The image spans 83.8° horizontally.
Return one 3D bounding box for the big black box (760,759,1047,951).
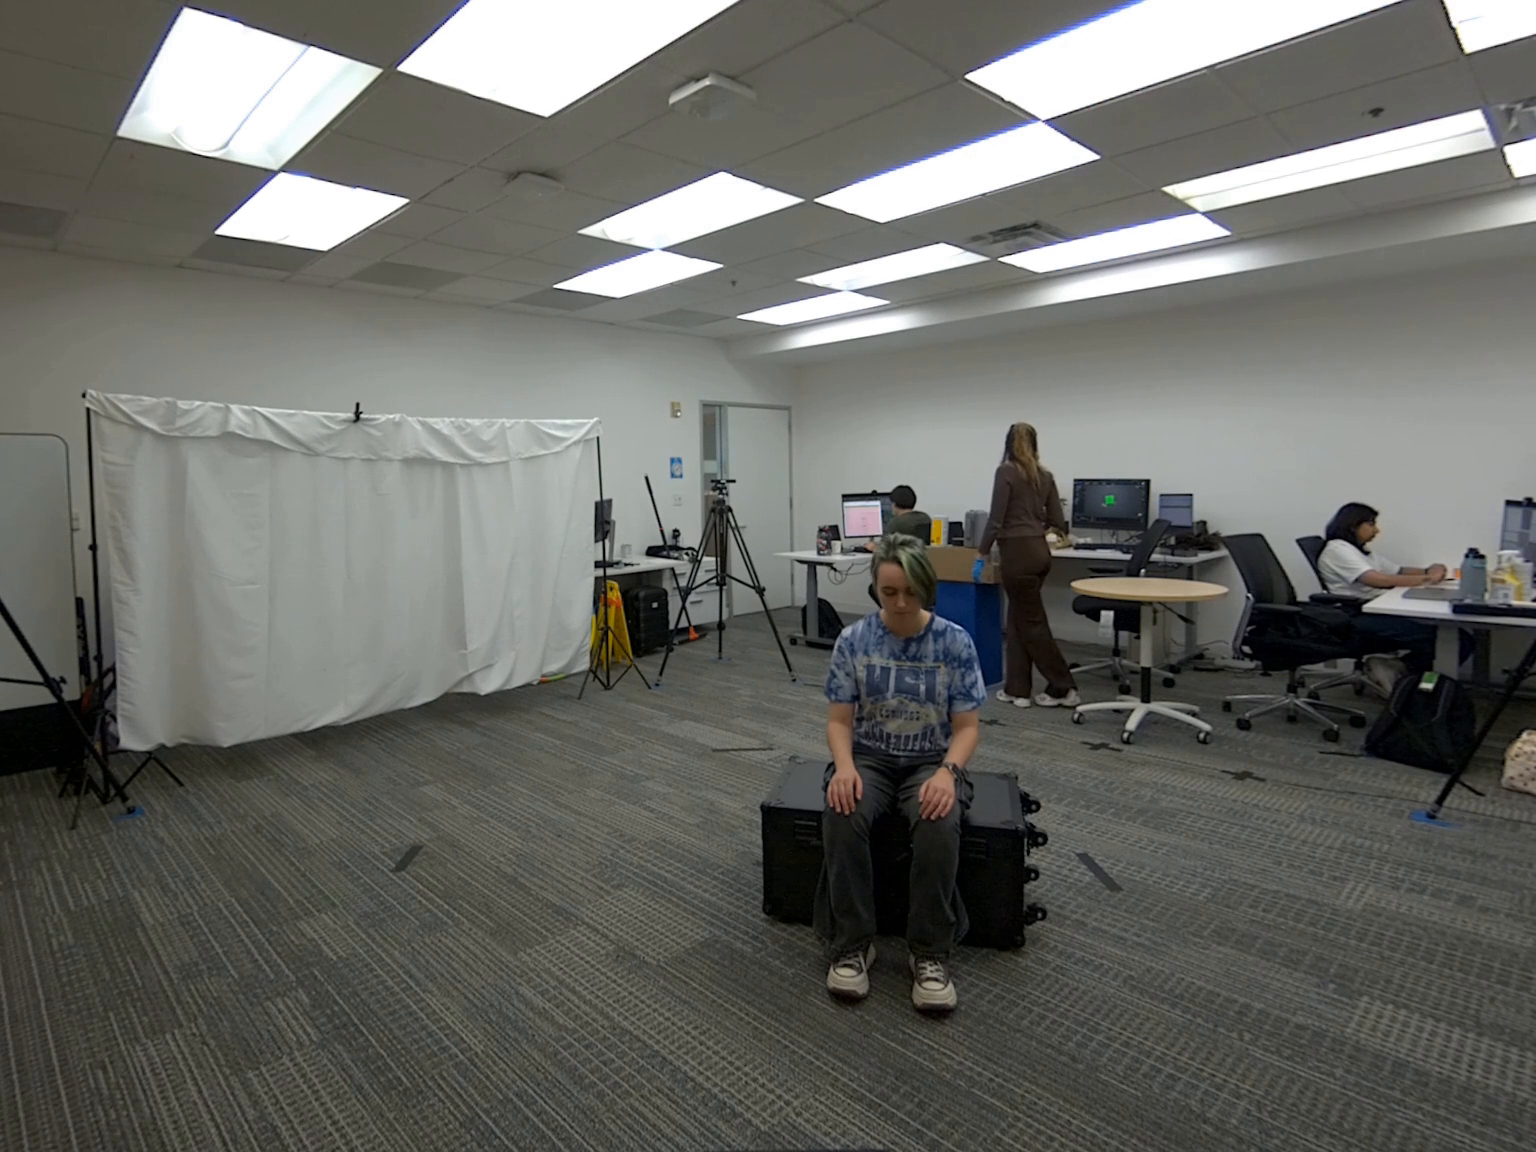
[{"bbox_3d":[0.447,0.883,2.800,0.874,0.395,0.516,0,5,15],"label":"big black box"}]
